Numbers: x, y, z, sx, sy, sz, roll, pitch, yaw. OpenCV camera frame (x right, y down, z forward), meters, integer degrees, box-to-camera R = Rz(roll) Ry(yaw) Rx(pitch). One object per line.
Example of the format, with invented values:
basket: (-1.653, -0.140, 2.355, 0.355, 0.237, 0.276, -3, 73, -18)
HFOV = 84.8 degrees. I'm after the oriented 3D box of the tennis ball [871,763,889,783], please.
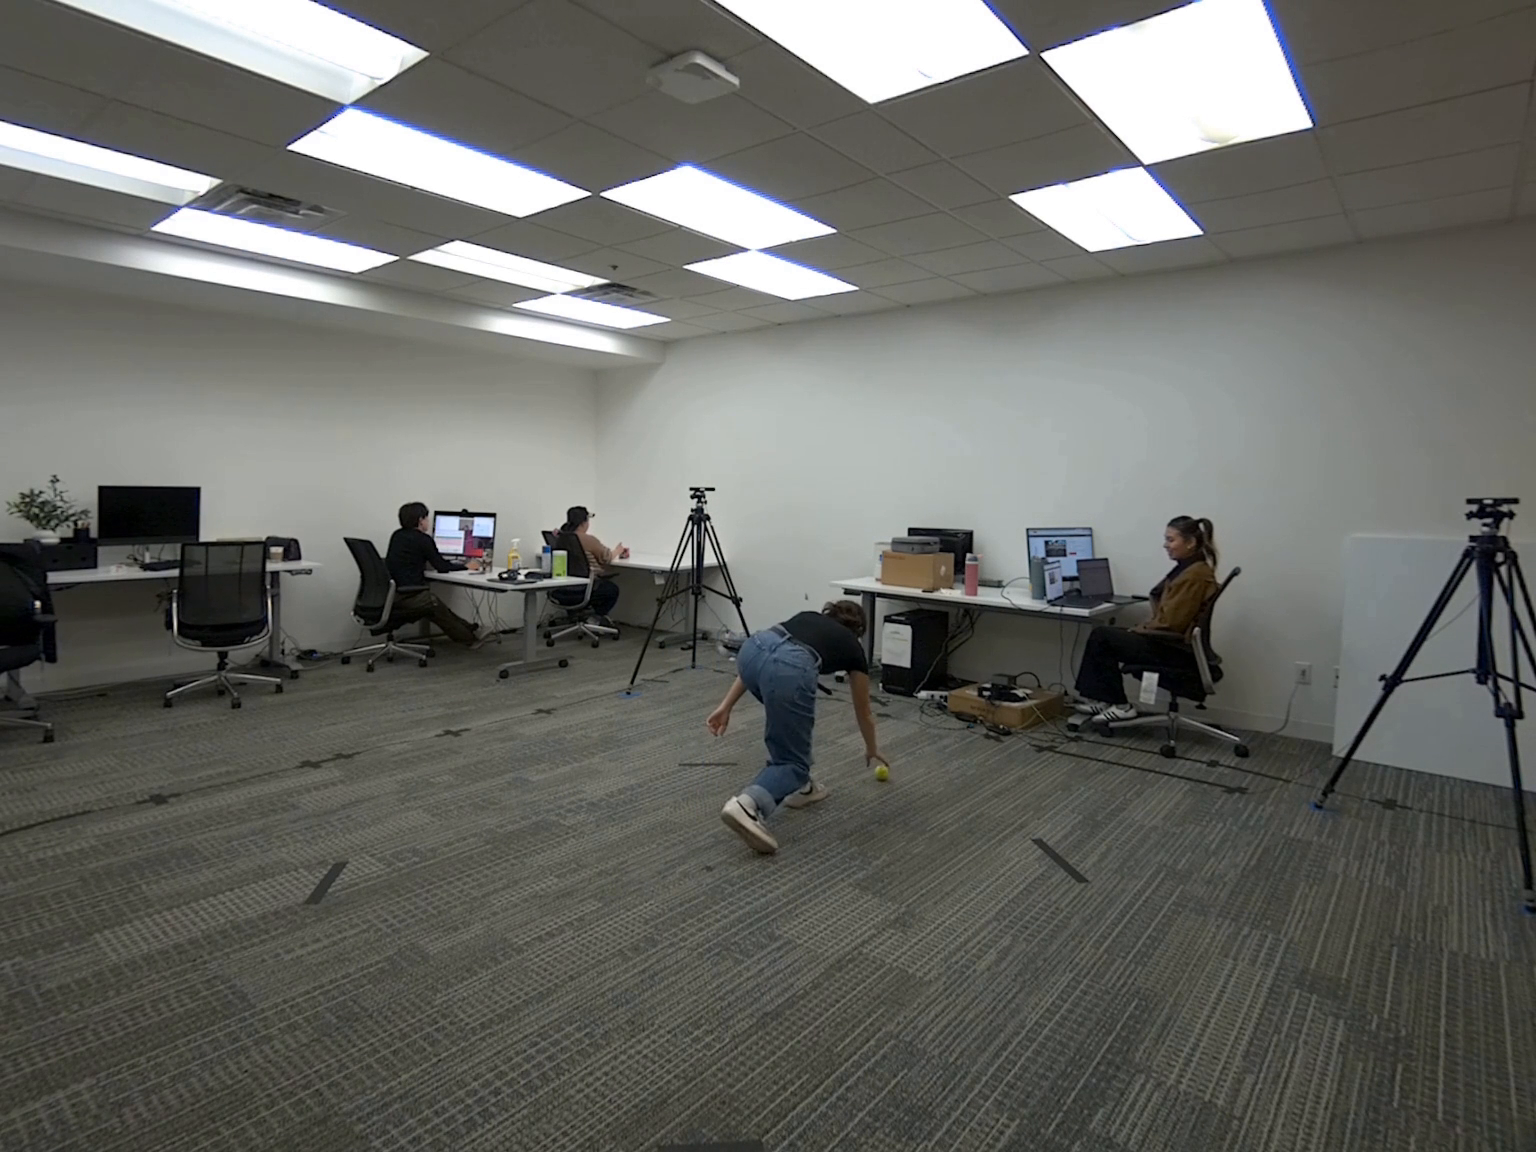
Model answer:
tennis ball: (0.533, 0.940, 4.073, 0.066, 0.066, 0.067, 1, 4, -2)
